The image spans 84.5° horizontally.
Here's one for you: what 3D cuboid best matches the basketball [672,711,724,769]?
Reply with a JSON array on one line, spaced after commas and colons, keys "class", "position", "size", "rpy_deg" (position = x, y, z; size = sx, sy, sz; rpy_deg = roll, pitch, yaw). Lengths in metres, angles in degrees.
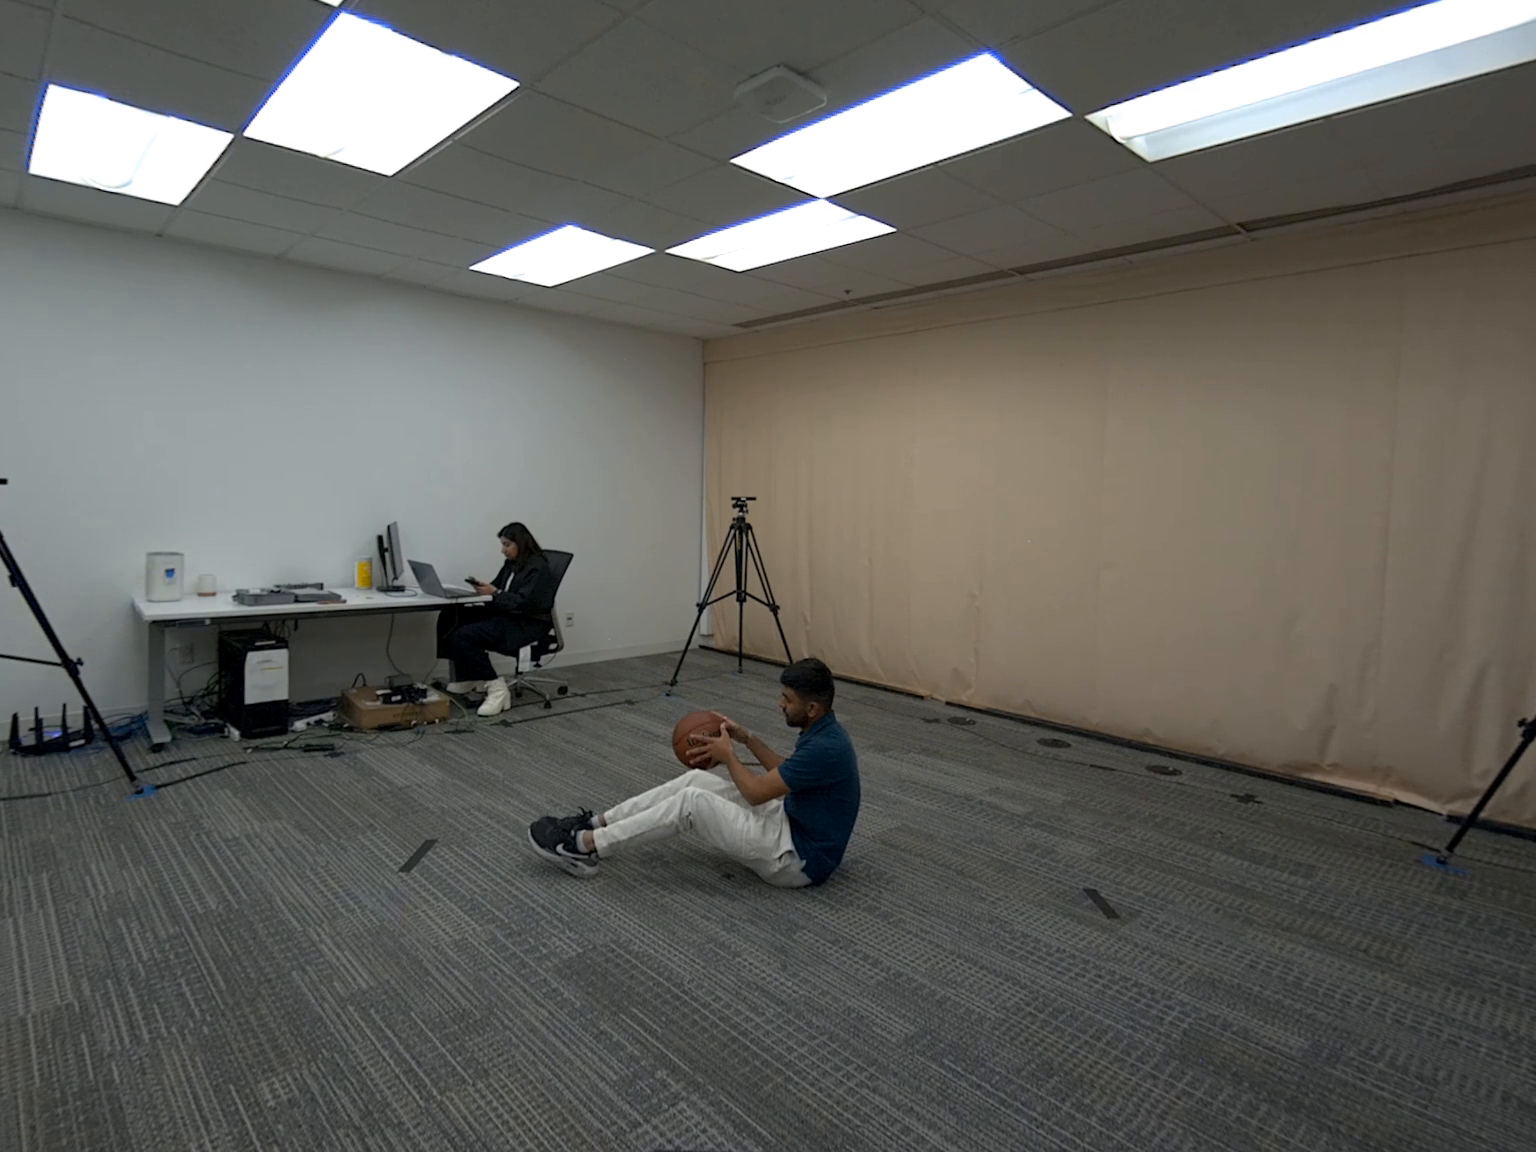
[{"class": "basketball", "position": [-0.279, 0.658, 3.420], "size": [0.236, 0.235, 0.237], "rpy_deg": [1, 4, -1]}]
